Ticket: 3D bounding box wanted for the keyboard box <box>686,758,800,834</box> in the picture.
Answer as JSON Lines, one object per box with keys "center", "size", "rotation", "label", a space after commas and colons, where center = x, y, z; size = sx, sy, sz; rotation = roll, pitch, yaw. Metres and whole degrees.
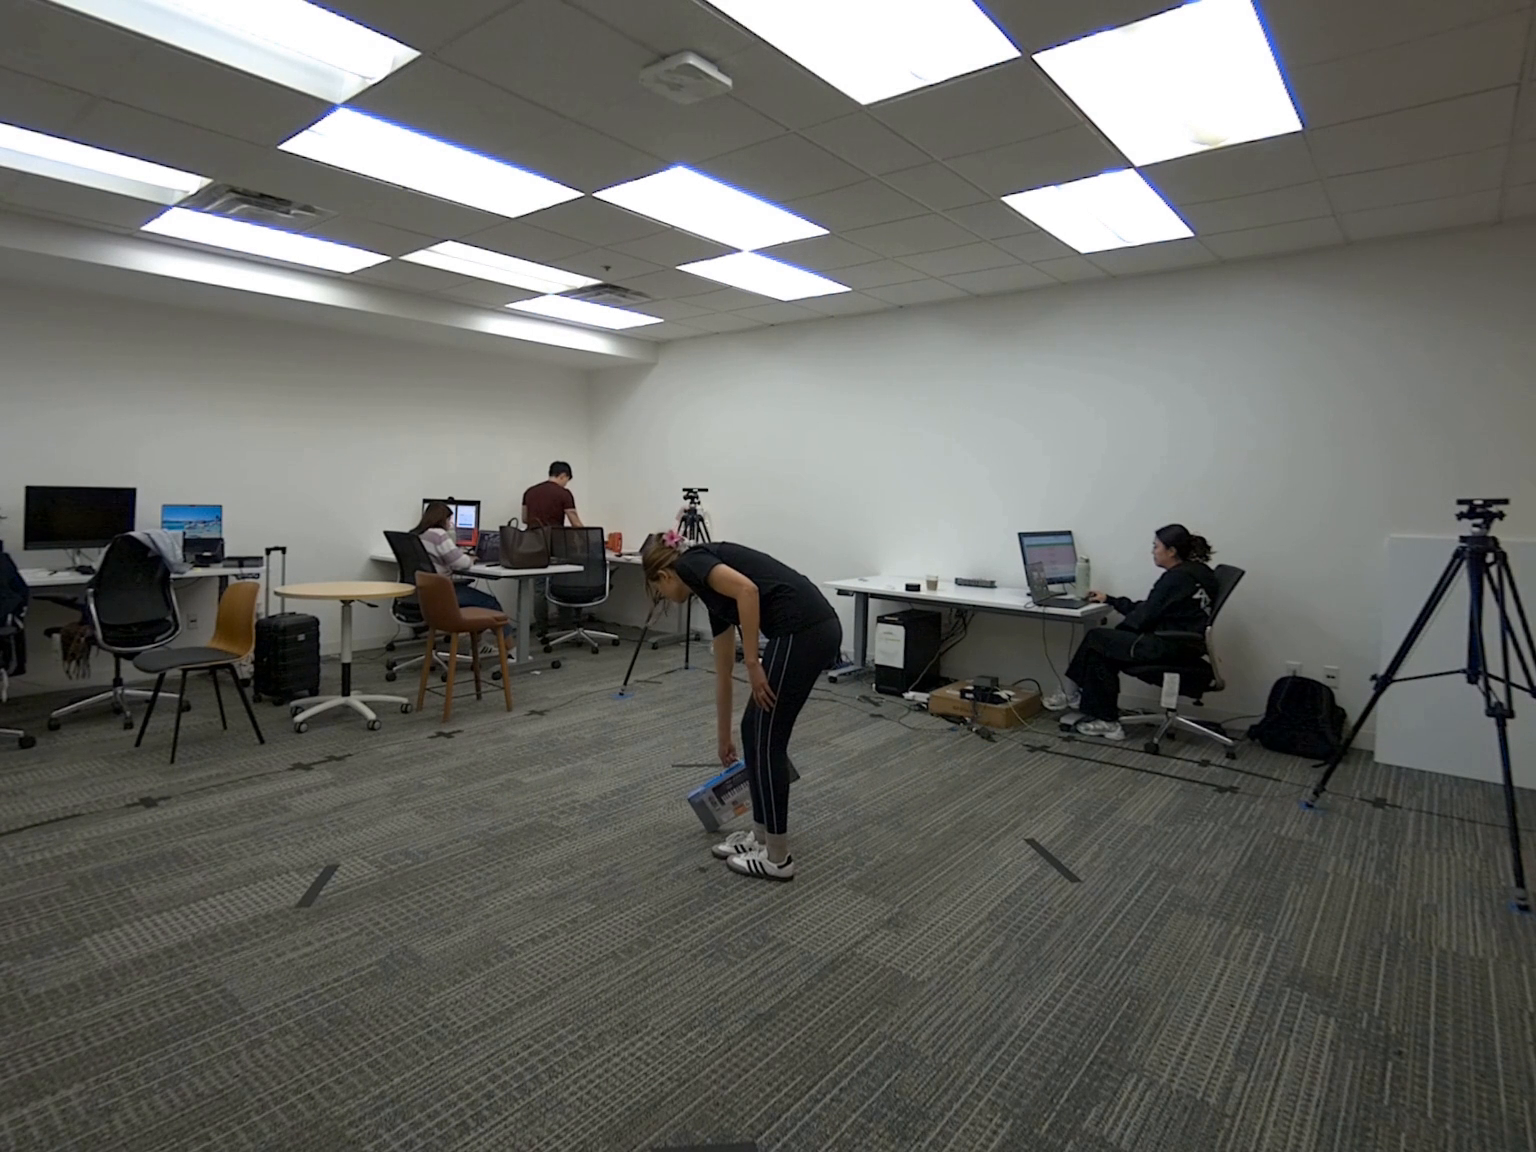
{"center": [-0.102, 0.847, 3.457], "size": [0.437, 0.175, 0.059], "rotation": [-33, 5, 0], "label": "keyboard box"}
